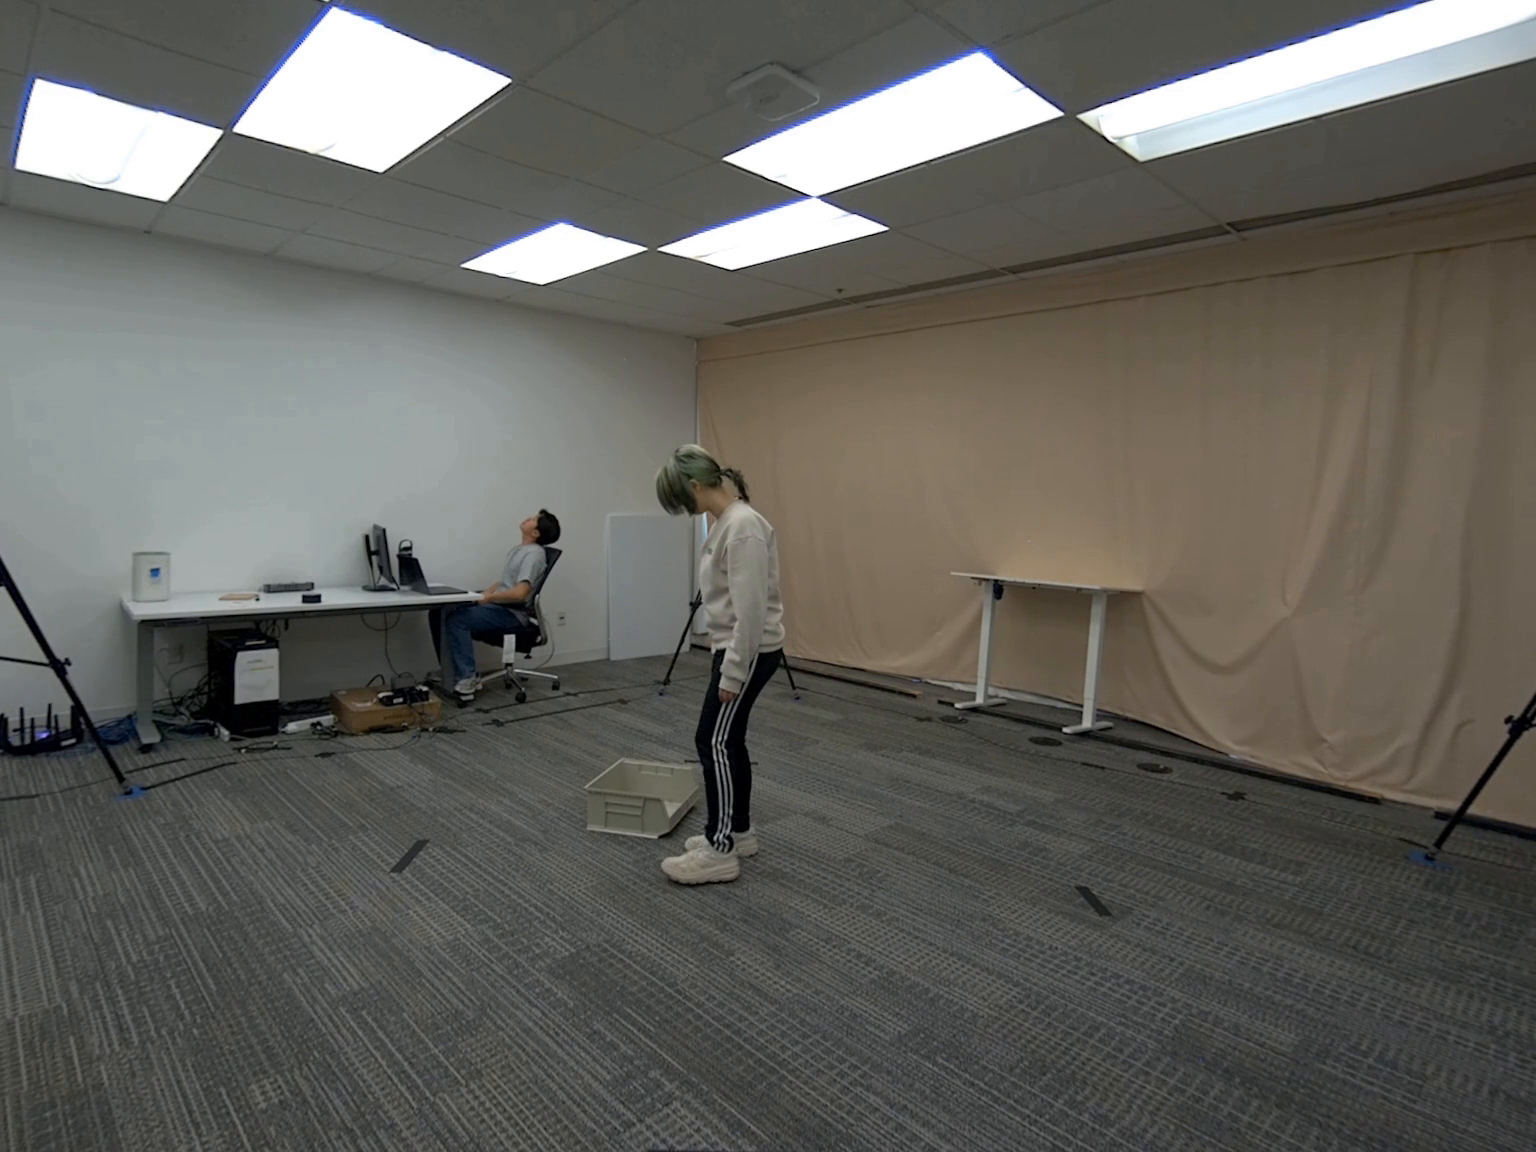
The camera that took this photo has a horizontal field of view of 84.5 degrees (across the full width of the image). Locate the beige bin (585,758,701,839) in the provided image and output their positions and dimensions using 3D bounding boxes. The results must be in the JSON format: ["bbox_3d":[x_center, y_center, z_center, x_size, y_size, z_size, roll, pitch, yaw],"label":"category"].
[{"bbox_3d":[-0.549,0.959,3.646,0.381,0.188,0.419,2,5,13],"label":"beige bin"}]
